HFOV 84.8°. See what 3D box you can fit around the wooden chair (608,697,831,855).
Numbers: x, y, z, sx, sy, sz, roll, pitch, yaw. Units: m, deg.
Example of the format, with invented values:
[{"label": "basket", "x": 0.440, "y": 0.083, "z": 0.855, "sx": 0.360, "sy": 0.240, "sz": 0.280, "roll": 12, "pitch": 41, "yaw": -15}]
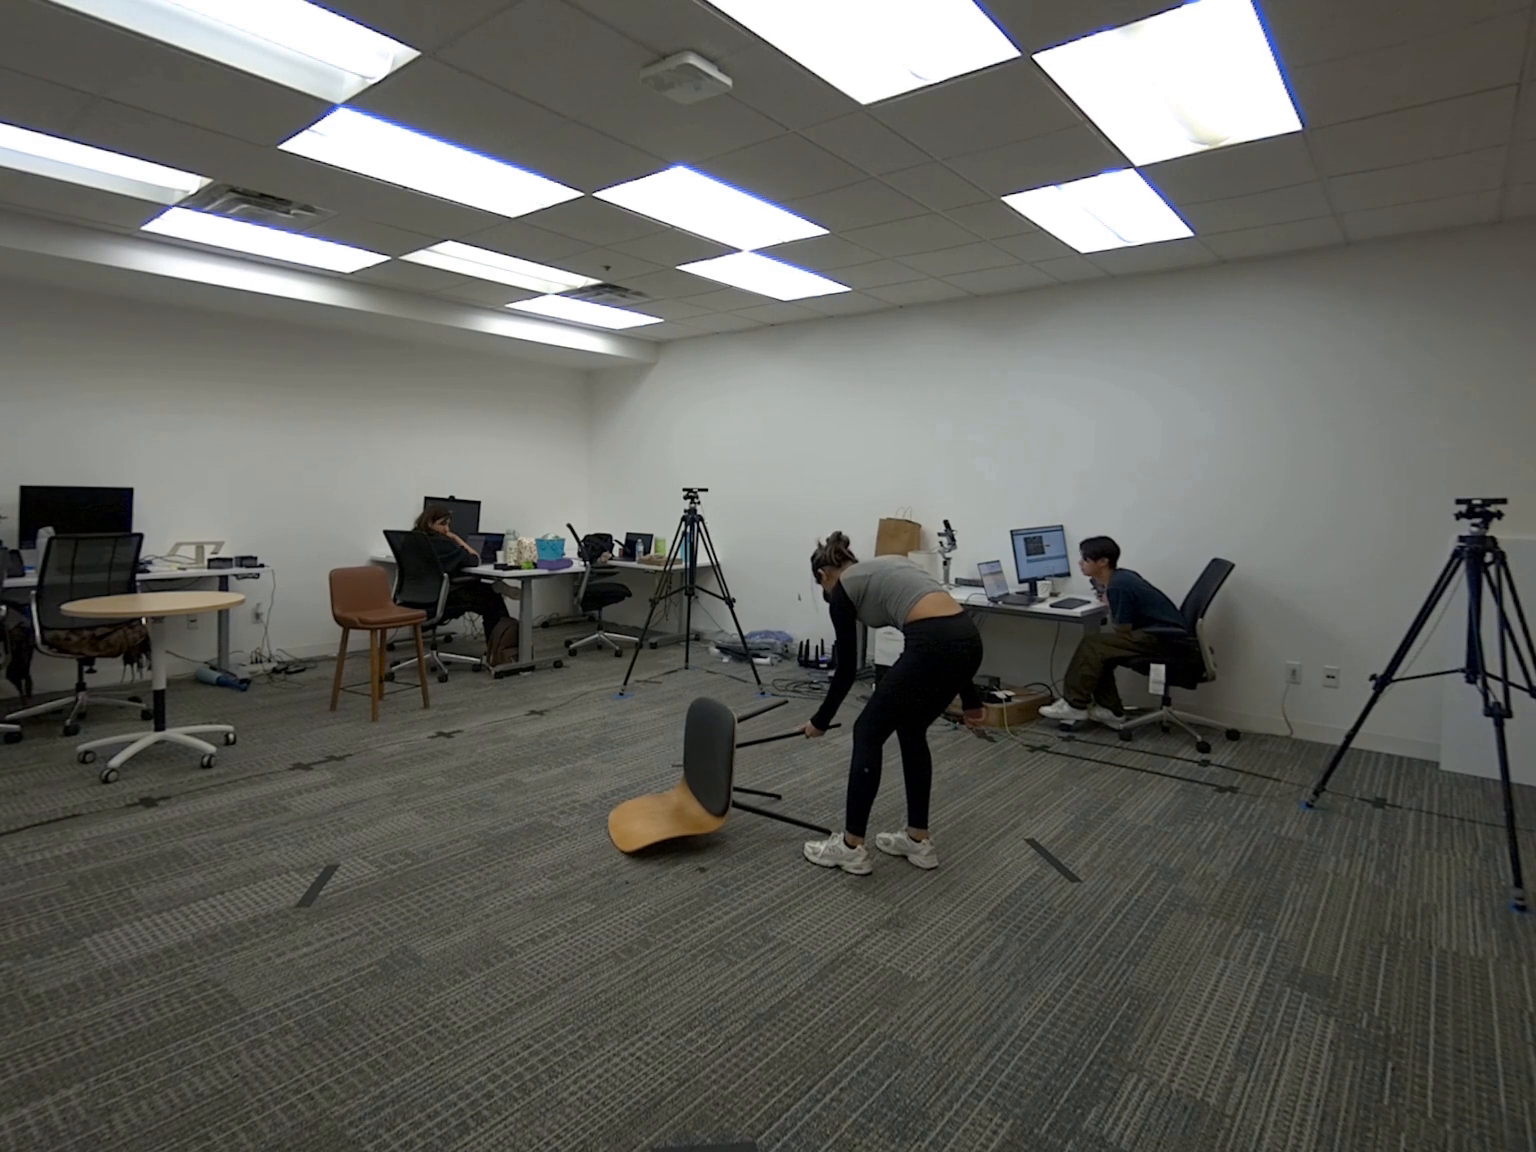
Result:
[{"label": "wooden chair", "x": -0.217, "y": 0.773, "z": 3.468, "sx": 0.857, "sy": 0.521, "sz": 0.491, "roll": -2, "pitch": 5, "yaw": -25}]
